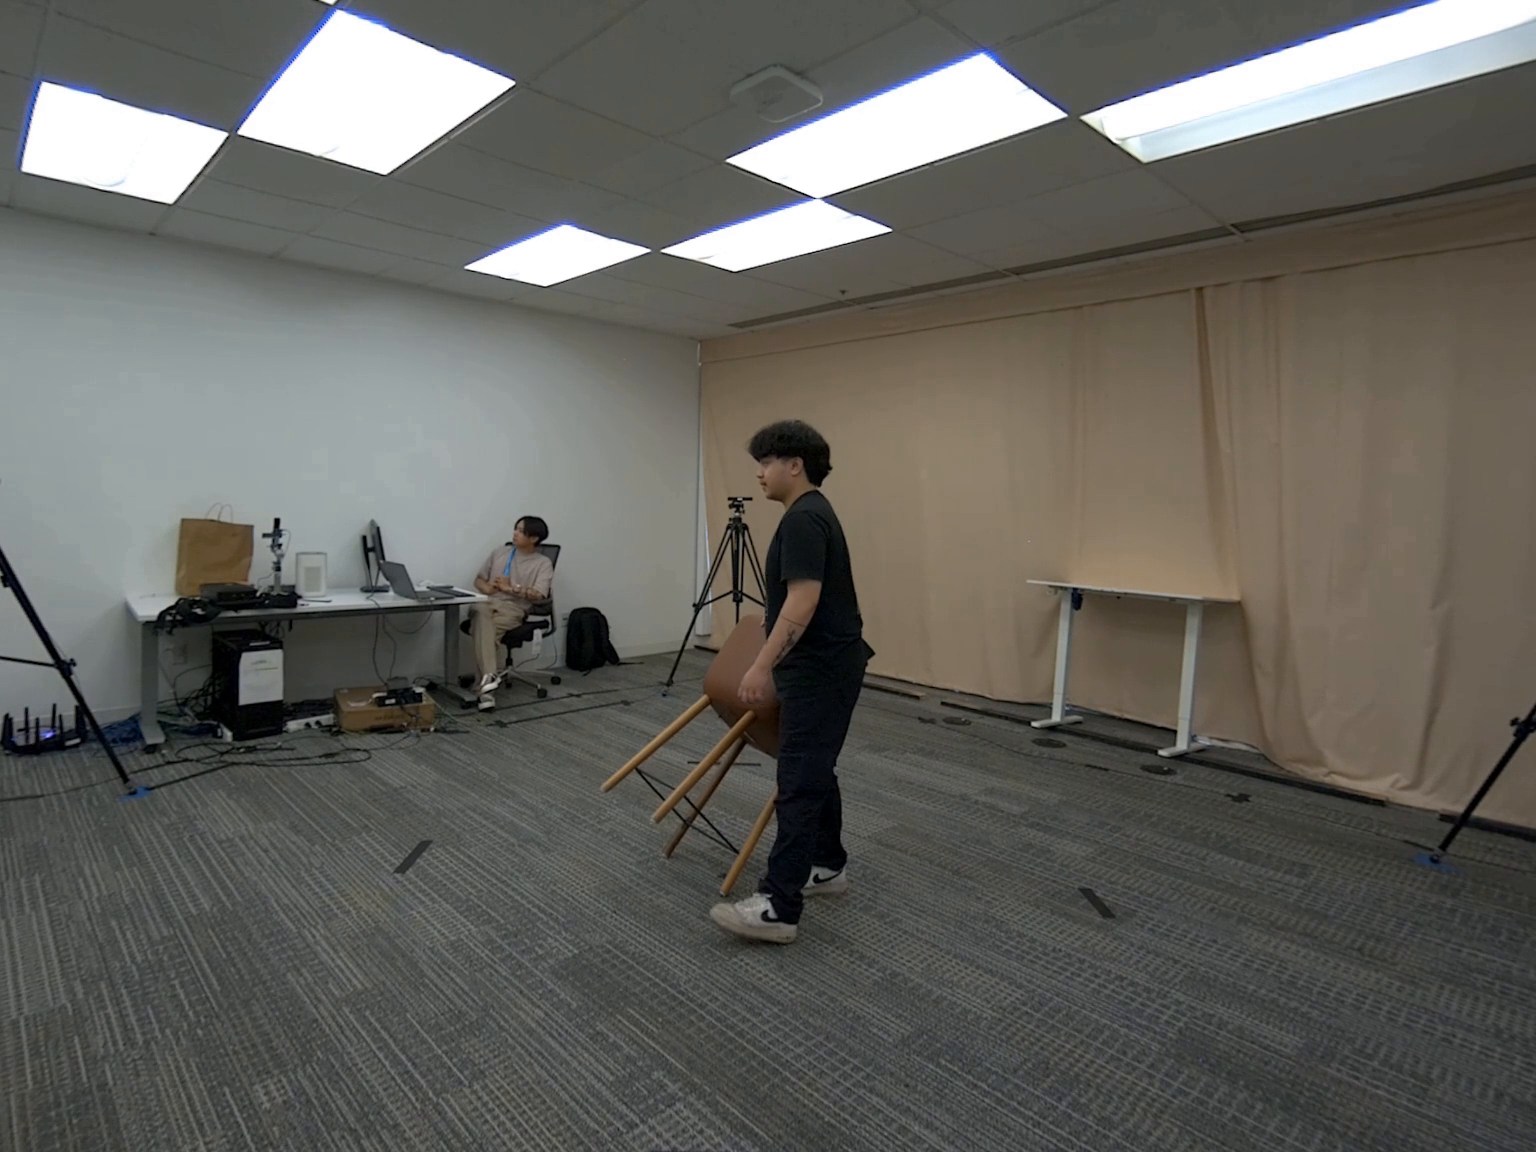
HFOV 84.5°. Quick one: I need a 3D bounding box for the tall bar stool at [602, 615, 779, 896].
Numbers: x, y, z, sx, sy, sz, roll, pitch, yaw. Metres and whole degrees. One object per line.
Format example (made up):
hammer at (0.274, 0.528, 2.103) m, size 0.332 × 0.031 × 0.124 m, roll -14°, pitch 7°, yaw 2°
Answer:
tall bar stool at (-0.144, 0.634, 3.180) m, size 0.468 × 0.891 × 0.455 m, roll 5°, pitch -40°, yaw 52°
